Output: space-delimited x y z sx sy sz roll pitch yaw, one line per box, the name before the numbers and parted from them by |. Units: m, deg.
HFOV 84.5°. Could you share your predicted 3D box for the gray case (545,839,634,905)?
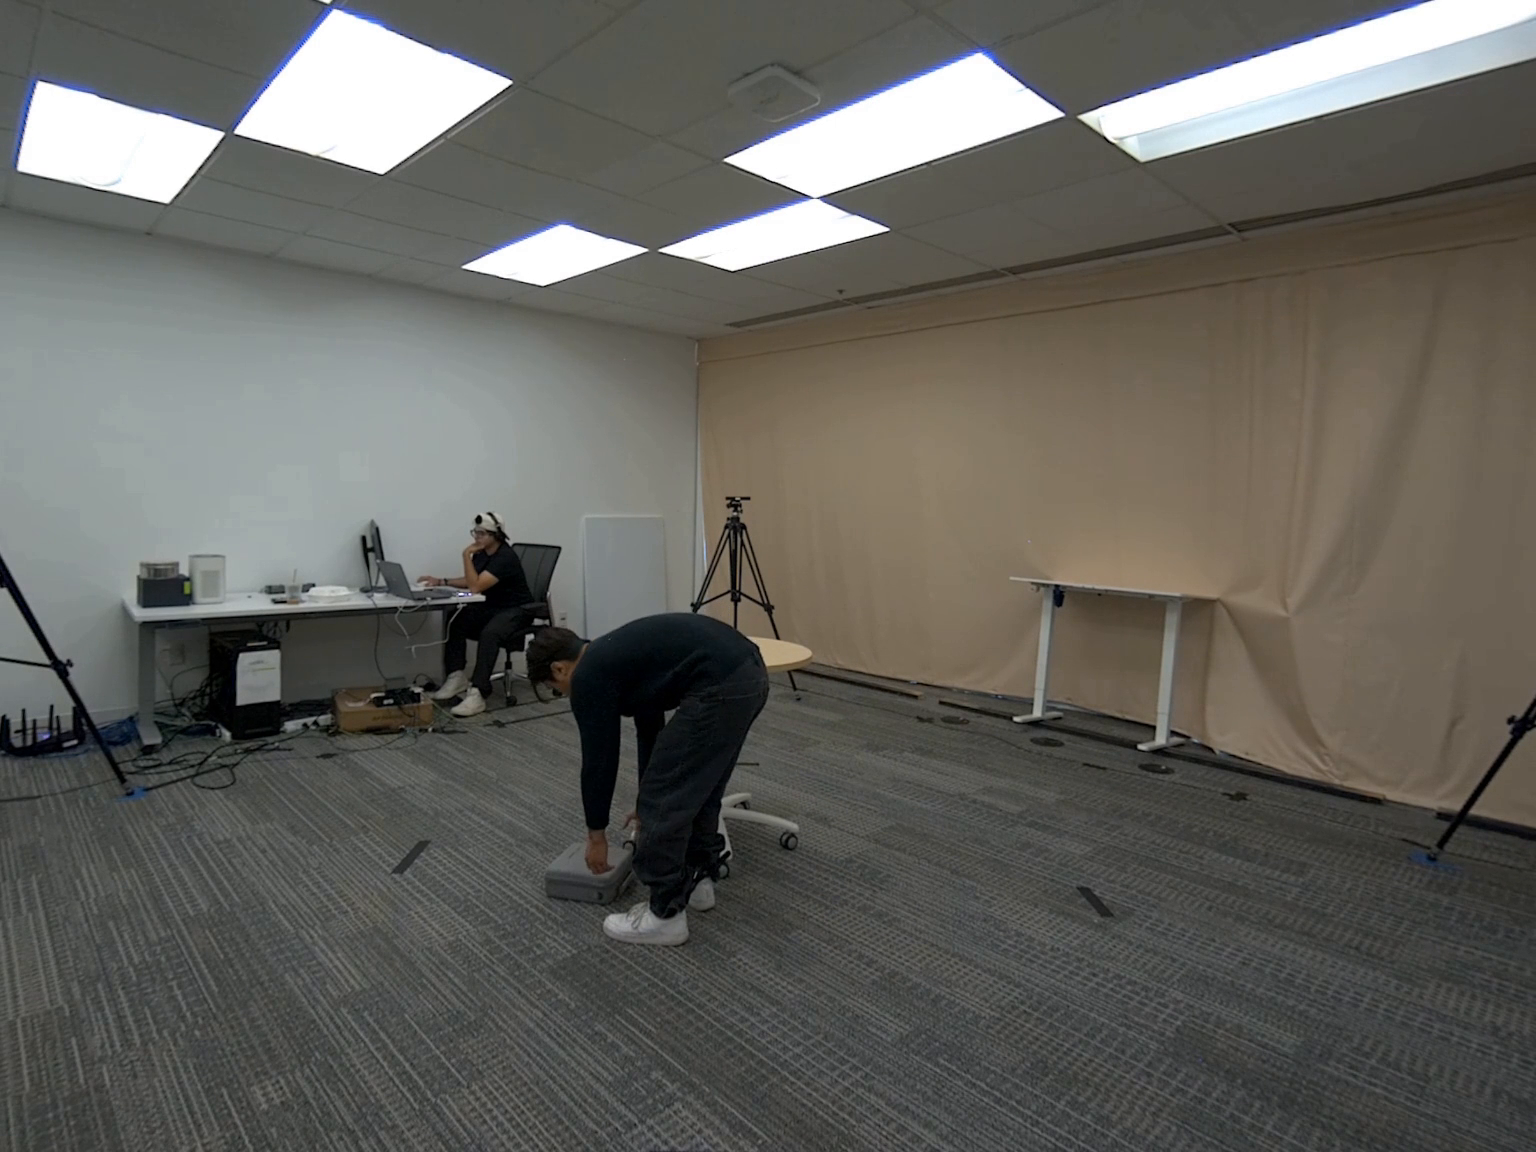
gray case | -0.626 1.043 2.993 0.263 0.104 0.255 2 5 13
